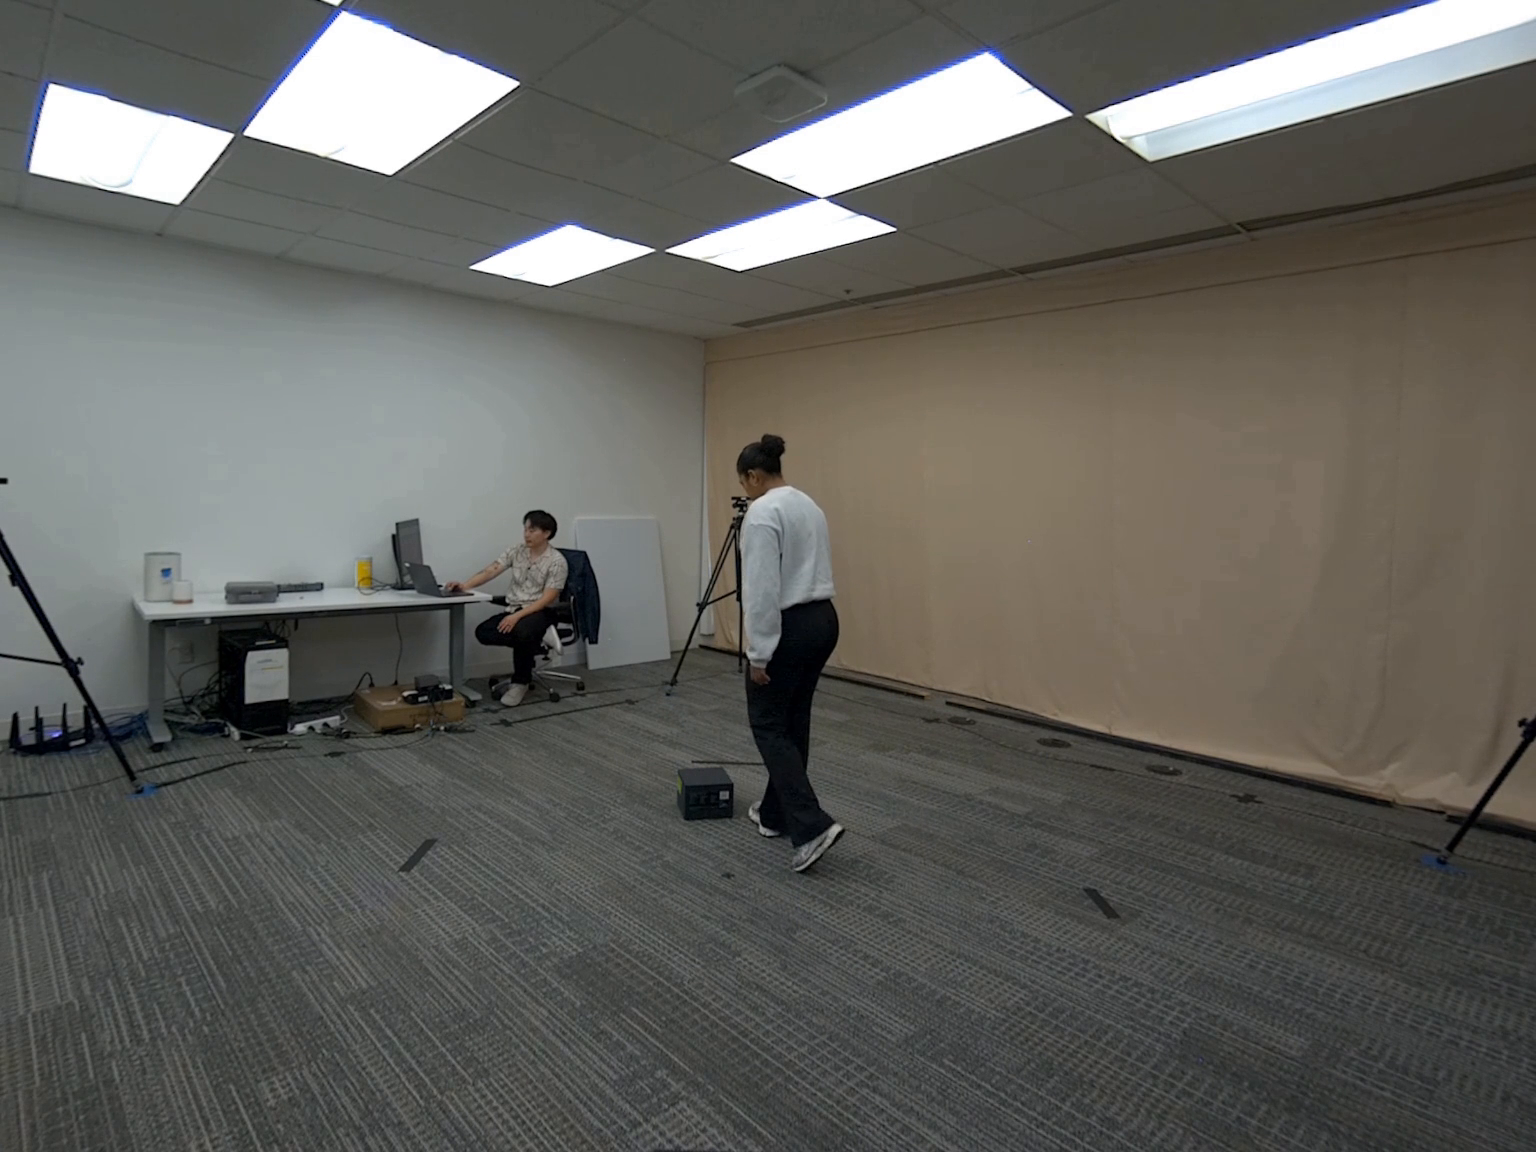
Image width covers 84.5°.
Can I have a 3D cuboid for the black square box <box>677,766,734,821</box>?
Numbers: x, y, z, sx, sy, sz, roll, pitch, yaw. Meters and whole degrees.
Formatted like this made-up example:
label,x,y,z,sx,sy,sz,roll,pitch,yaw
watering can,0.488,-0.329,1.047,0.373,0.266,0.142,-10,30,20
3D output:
label,x,y,z,sx,sy,sz,roll,pitch,yaw
black square box,-0.294,0.961,3.754,0.215,0.155,0.231,0,5,-14
